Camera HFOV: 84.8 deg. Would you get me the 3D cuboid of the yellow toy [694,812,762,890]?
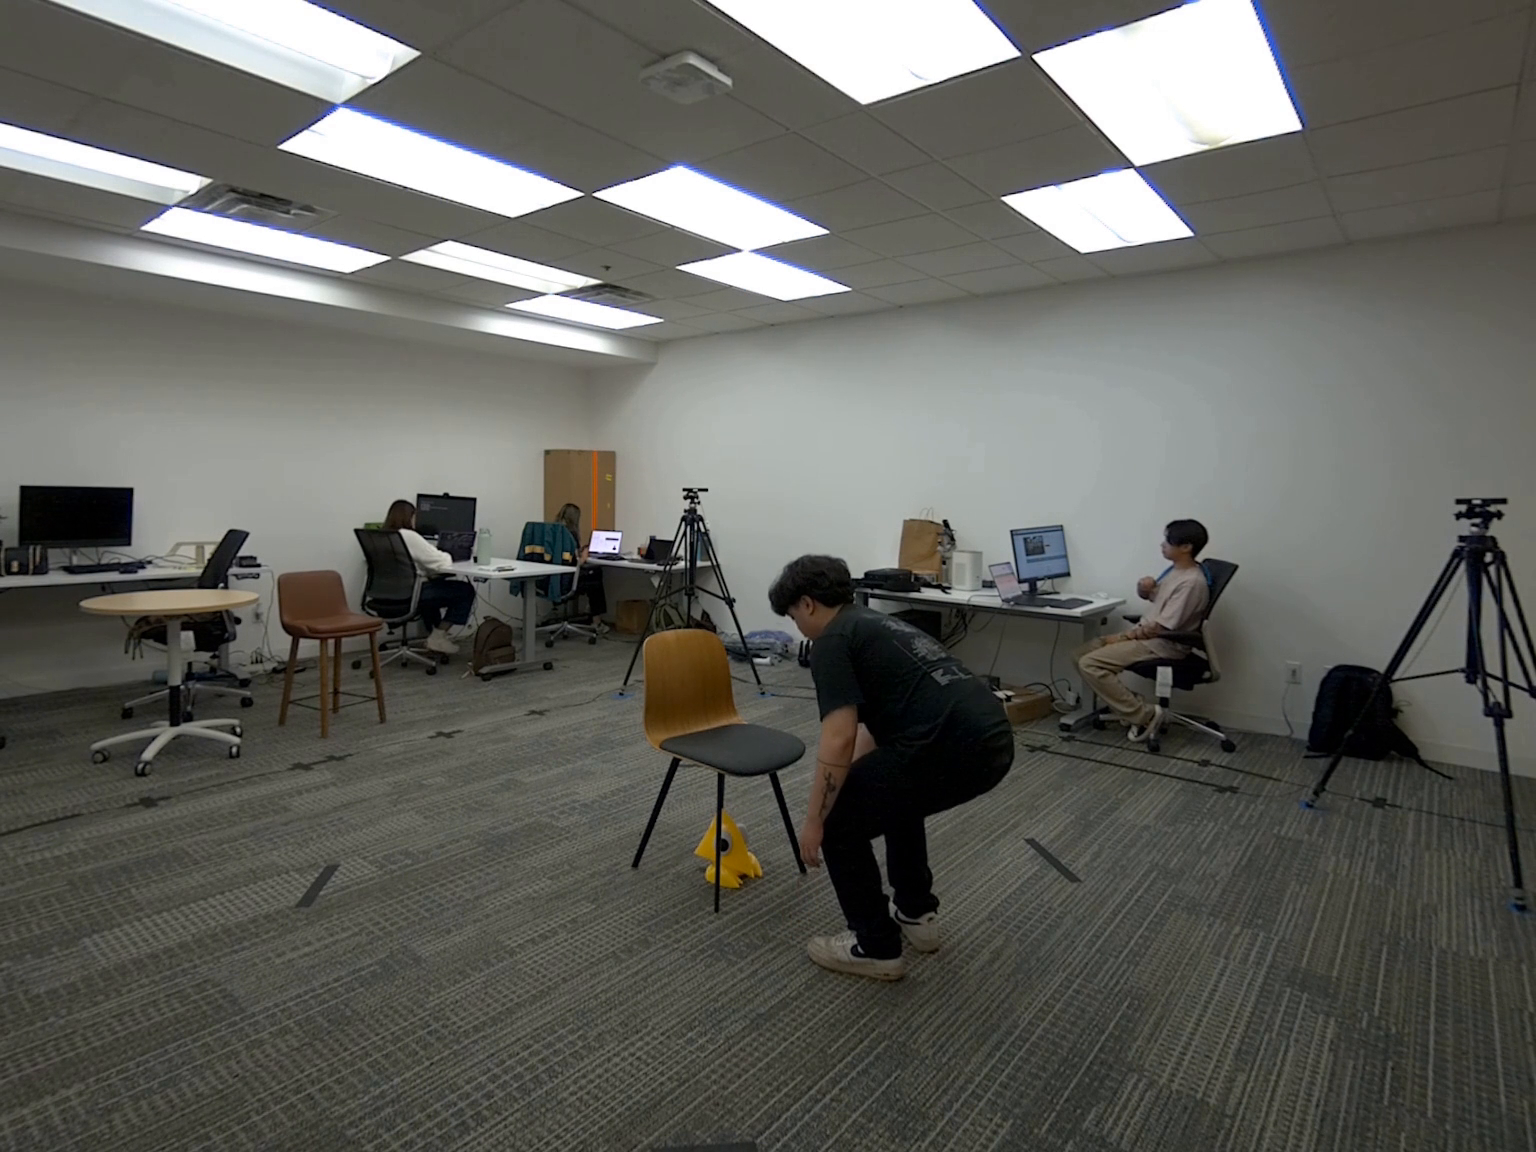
[{"bbox_3d":[-0.137,0.963,3.070,0.200,0.230,0.199,5,6,41],"label":"yellow toy"}]
